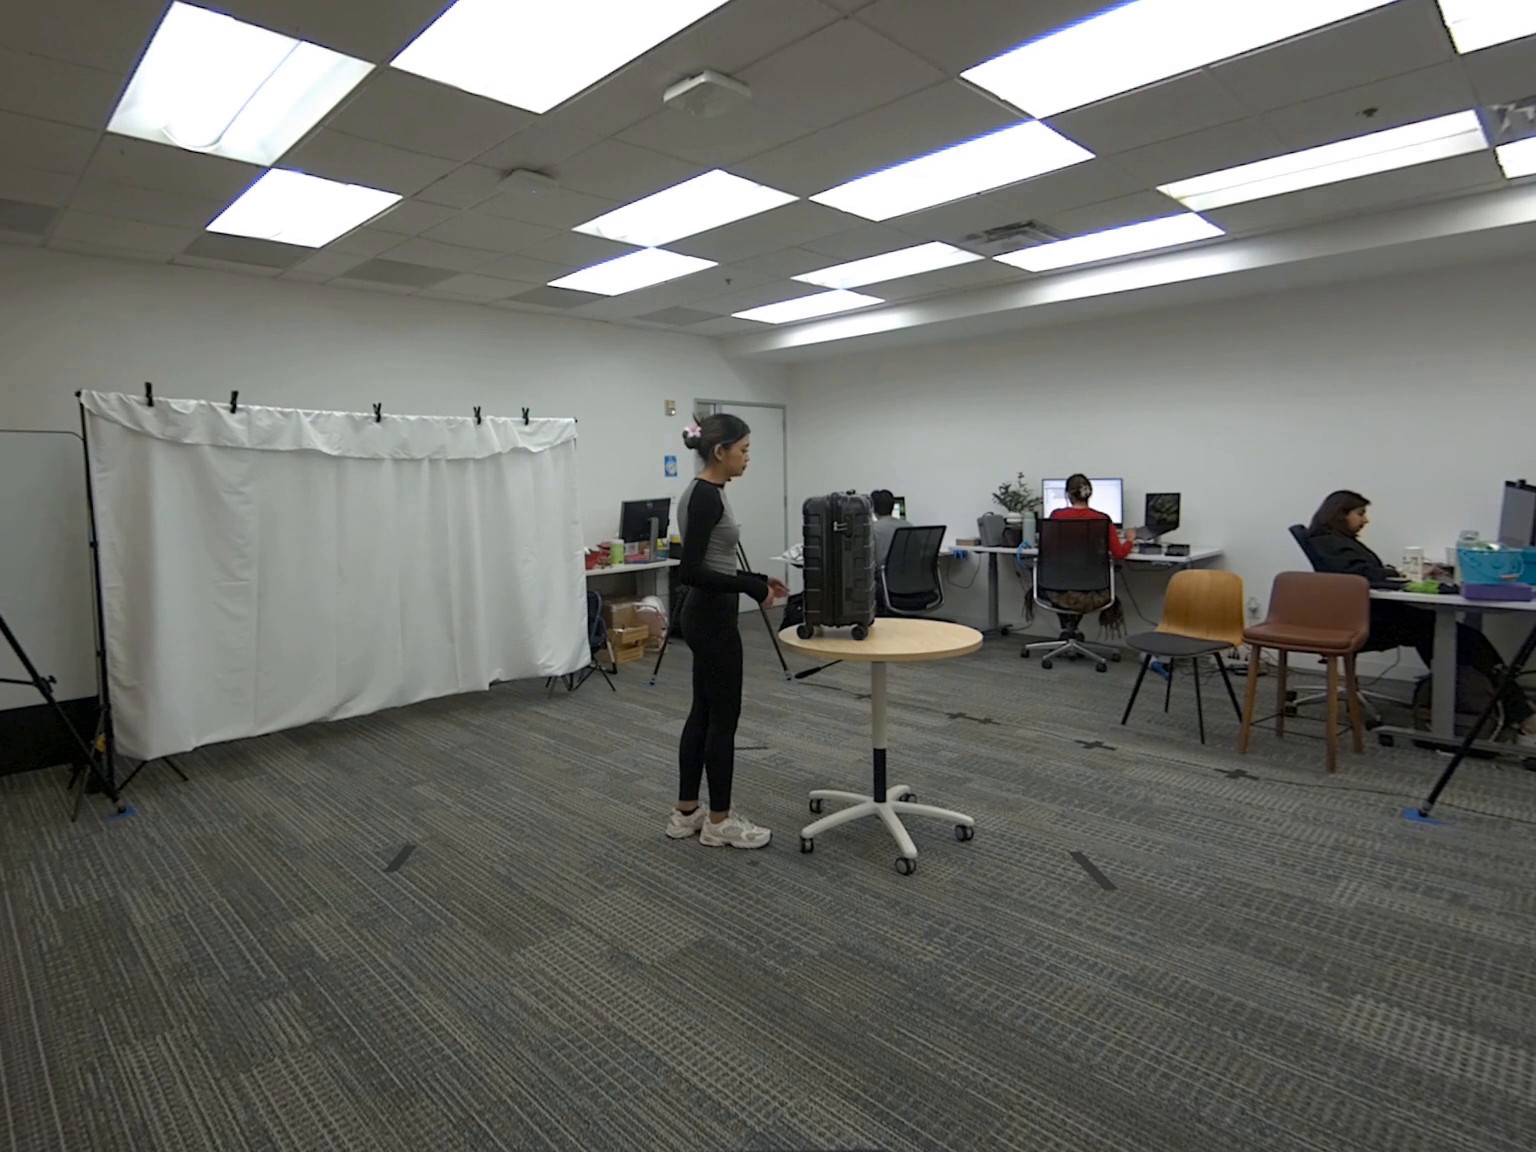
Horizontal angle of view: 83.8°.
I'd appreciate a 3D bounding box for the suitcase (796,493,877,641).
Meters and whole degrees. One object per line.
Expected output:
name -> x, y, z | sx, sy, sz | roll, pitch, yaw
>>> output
suitcase -> 0.272, -0.056, 3.298 | 0.252, 0.547, 0.372 | 0, 5, 13
